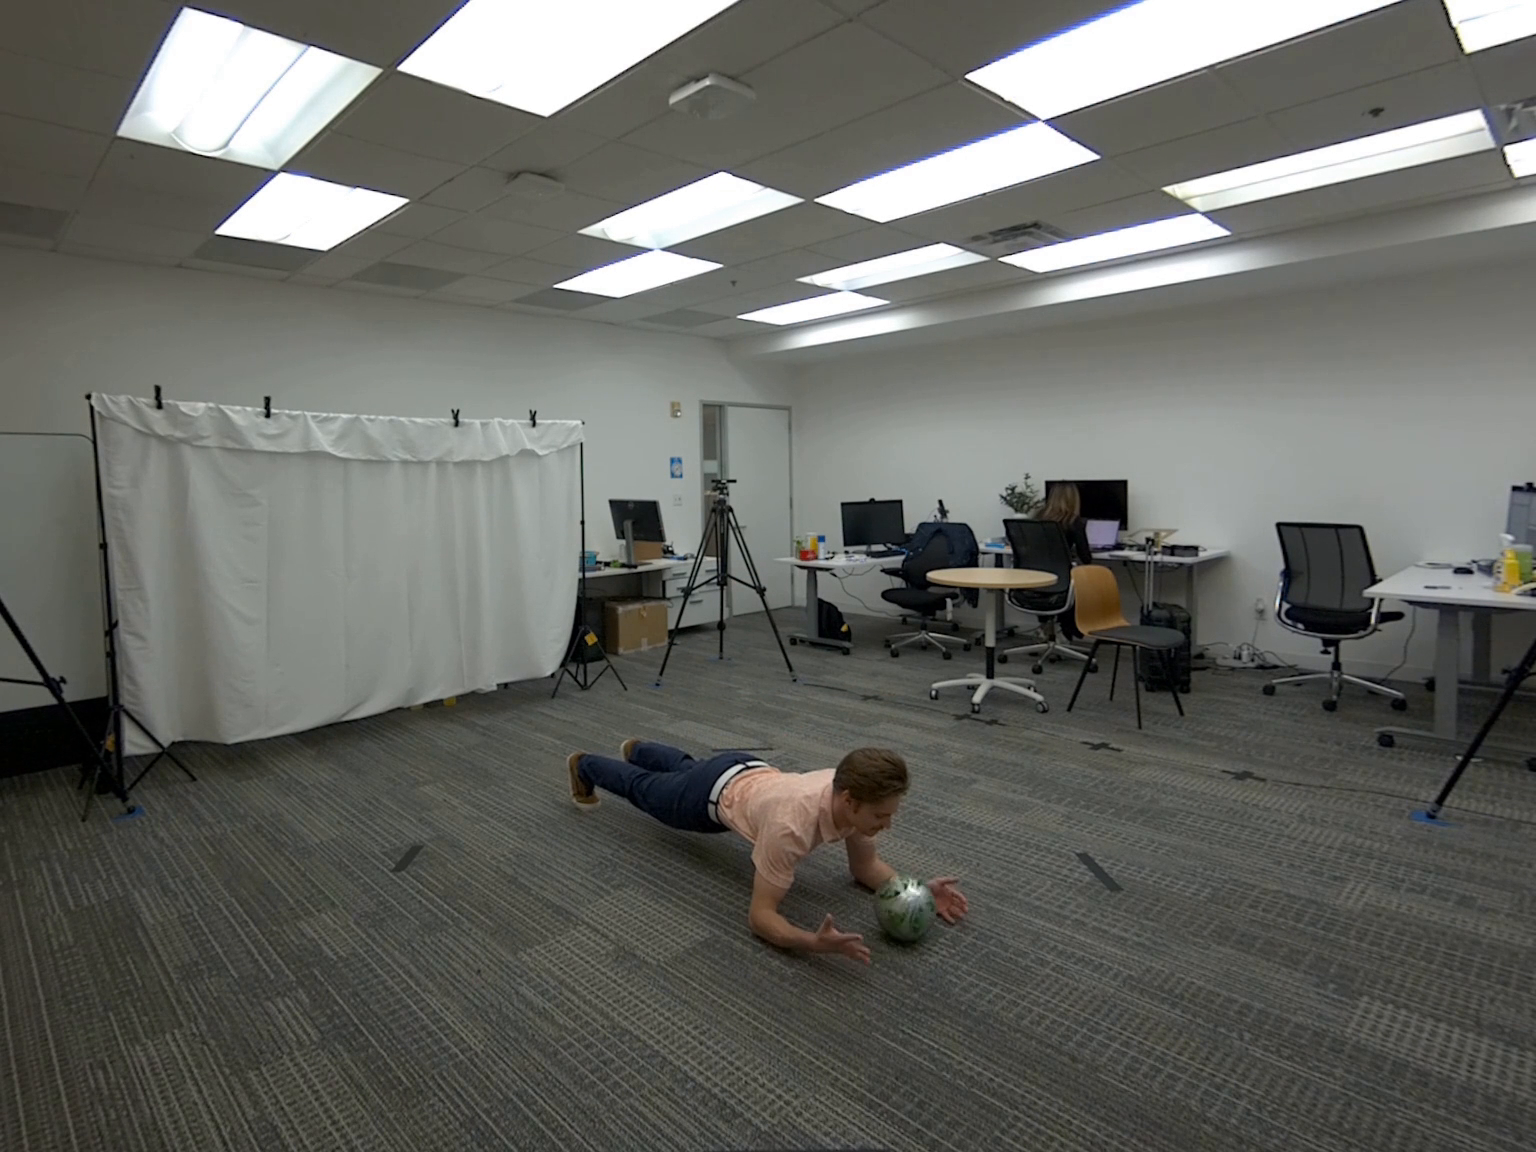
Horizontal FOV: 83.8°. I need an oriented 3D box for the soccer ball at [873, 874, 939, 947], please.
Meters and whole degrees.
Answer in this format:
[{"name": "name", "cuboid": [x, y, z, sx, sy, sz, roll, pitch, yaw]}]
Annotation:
[{"name": "soccer ball", "cuboid": [0.407, 1.001, 2.582, 0.187, 0.187, 0.188, -1, 5, -2]}]
